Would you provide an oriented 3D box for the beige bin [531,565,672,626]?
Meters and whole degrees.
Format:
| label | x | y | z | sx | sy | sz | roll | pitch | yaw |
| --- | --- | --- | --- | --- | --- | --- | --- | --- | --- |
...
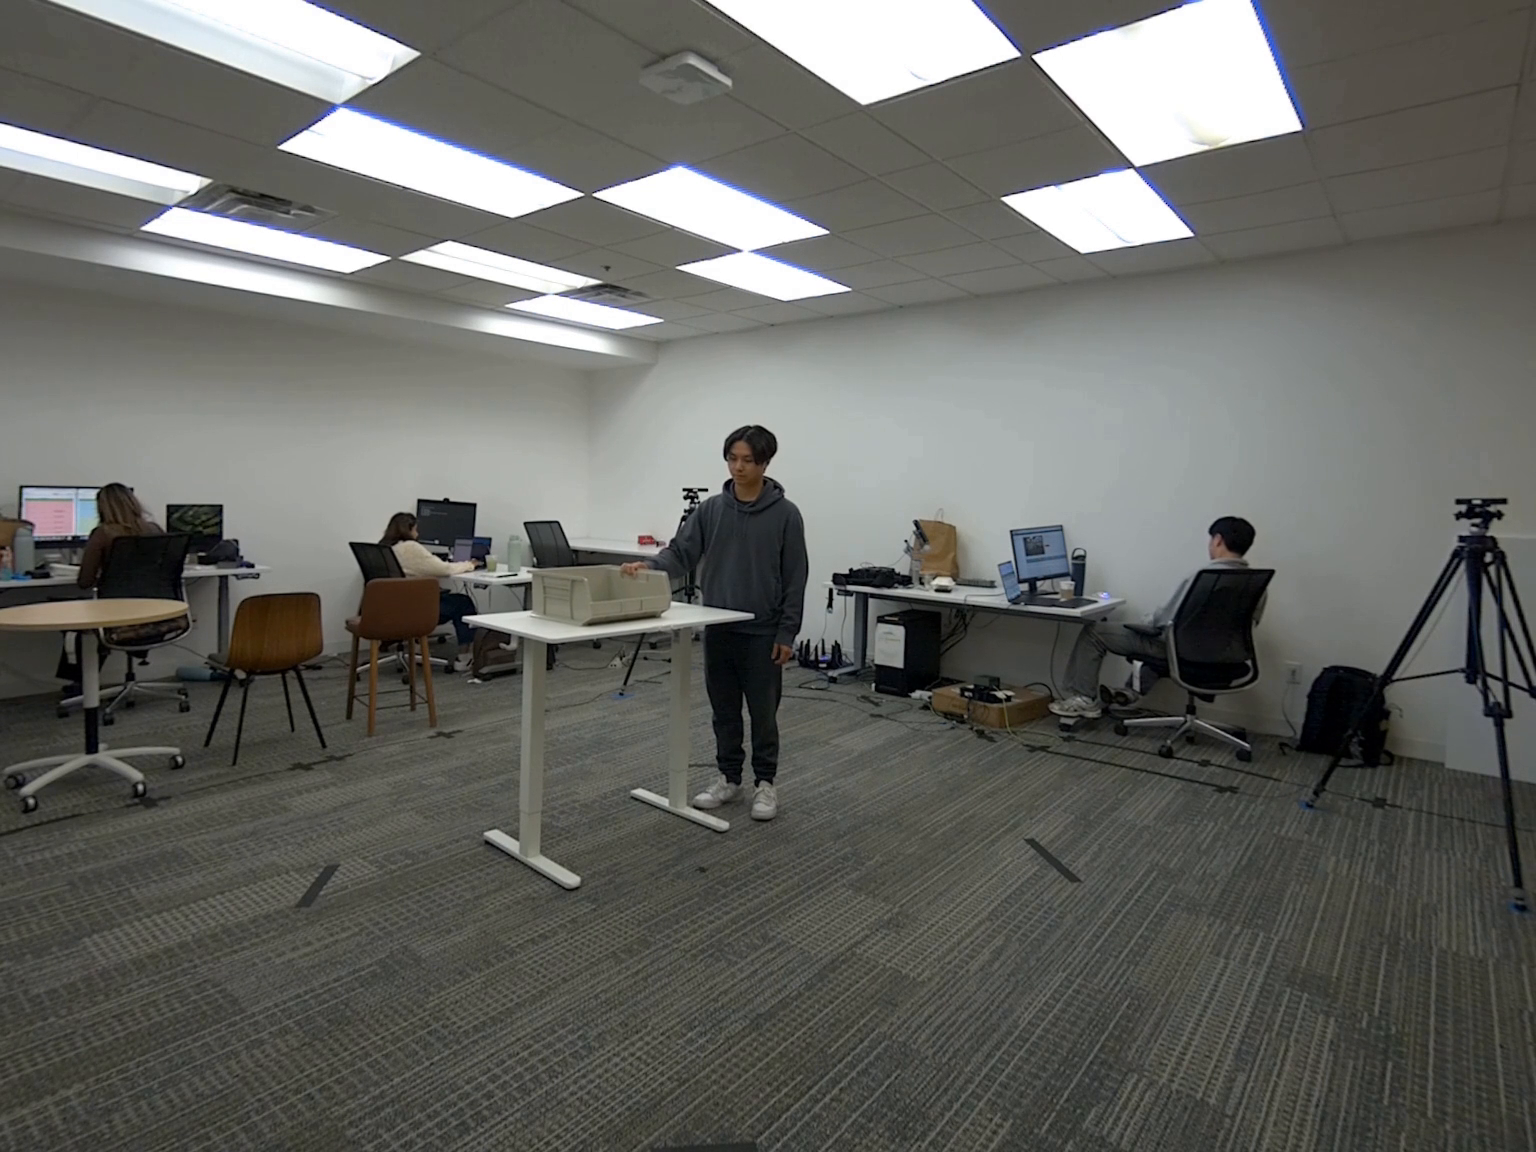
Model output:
| label | x | y | z | sx | sy | sz | roll | pitch | yaw |
| --- | --- | --- | --- | --- | --- | --- | --- | --- | --- |
| beige bin | -0.663 | 0.071 | 3.311 | 0.390 | 0.188 | 0.410 | 5 | 6 | 40 |
